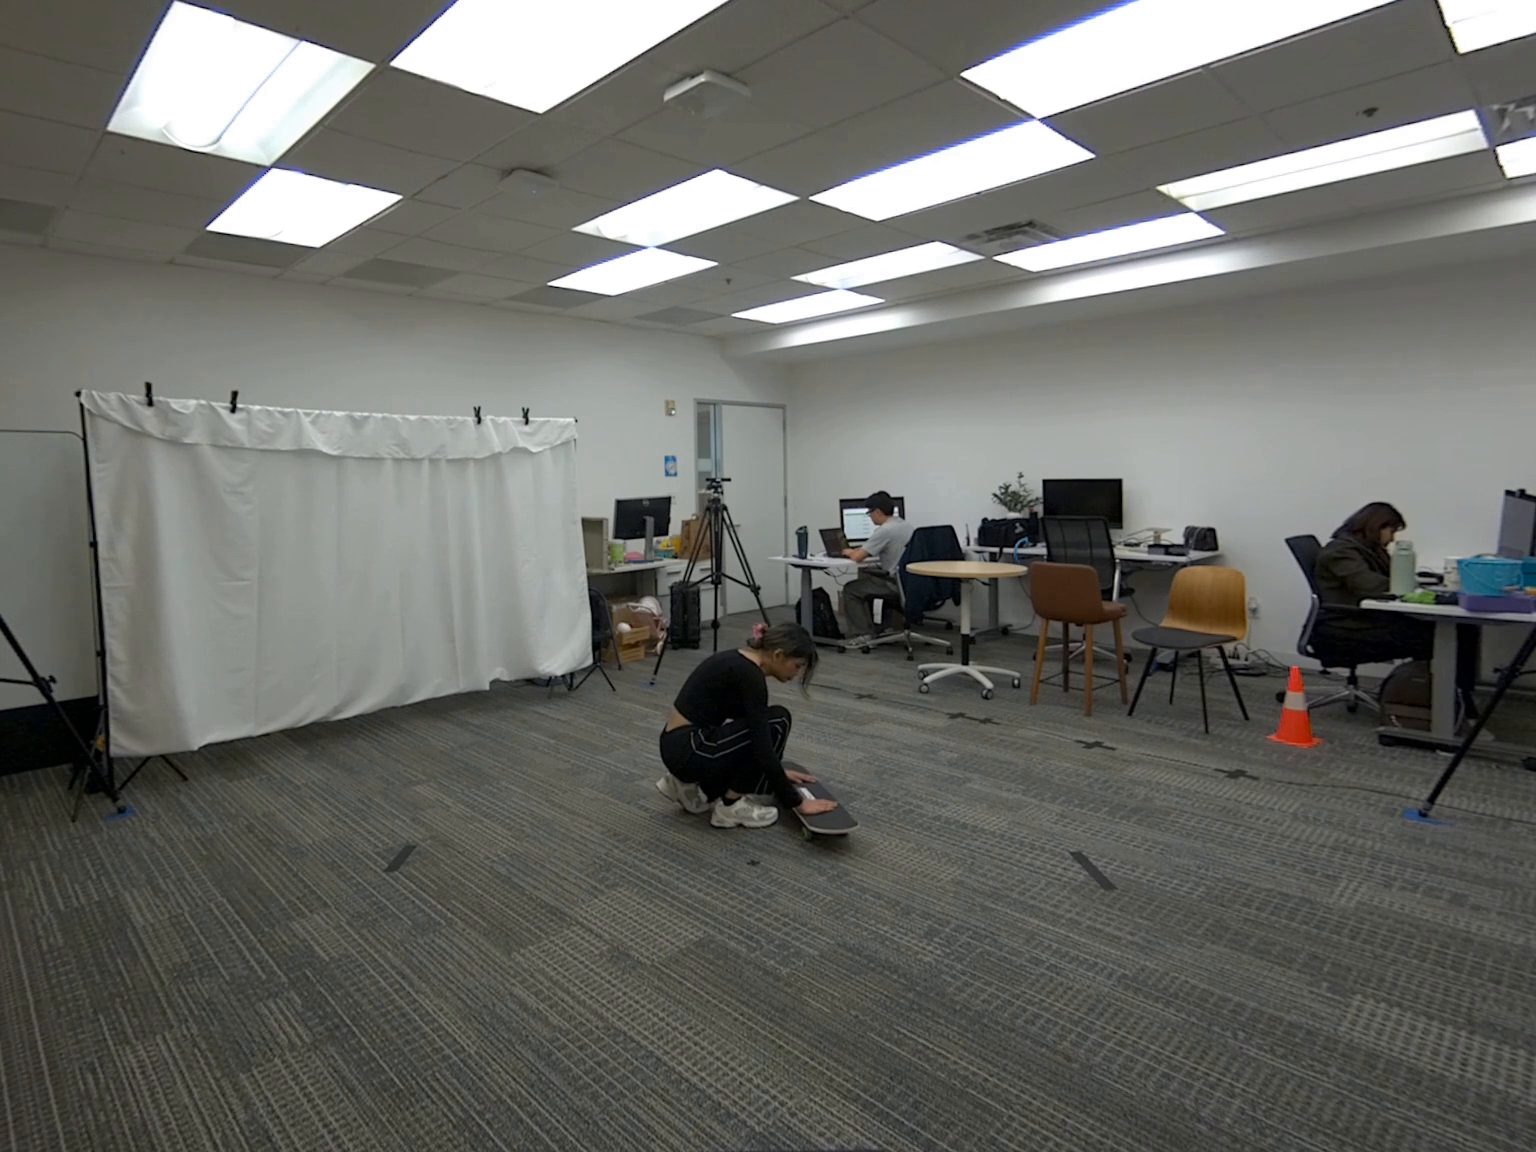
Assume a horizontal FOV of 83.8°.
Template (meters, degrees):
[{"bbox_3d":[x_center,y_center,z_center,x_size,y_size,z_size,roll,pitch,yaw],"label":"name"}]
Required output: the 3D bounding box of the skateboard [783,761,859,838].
[{"bbox_3d":[0.162,0.929,3.506,0.191,0.110,0.800,-4,8,-16],"label":"skateboard"}]
